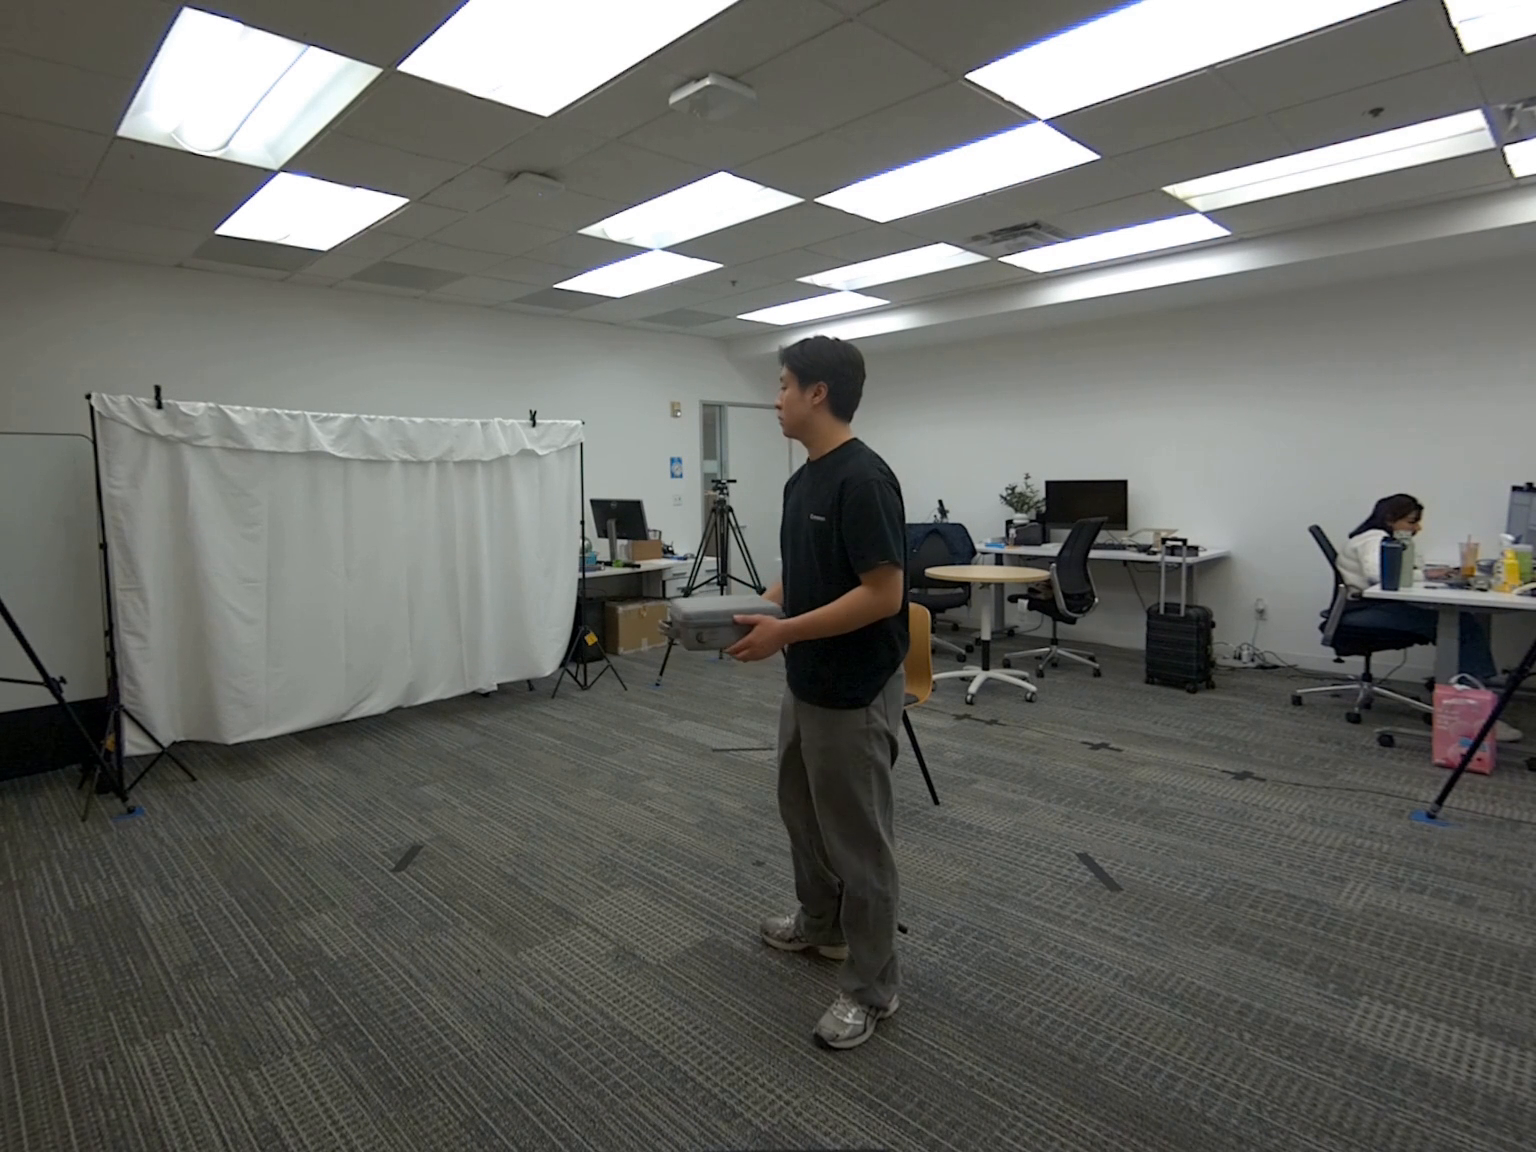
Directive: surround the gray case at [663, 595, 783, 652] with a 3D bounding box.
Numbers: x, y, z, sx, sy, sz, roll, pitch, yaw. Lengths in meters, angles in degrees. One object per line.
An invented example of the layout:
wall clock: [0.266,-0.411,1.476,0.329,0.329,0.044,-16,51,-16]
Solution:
gray case: [-0.112,0.114,2.145,0.283,0.102,0.268,-3,7,-15]
